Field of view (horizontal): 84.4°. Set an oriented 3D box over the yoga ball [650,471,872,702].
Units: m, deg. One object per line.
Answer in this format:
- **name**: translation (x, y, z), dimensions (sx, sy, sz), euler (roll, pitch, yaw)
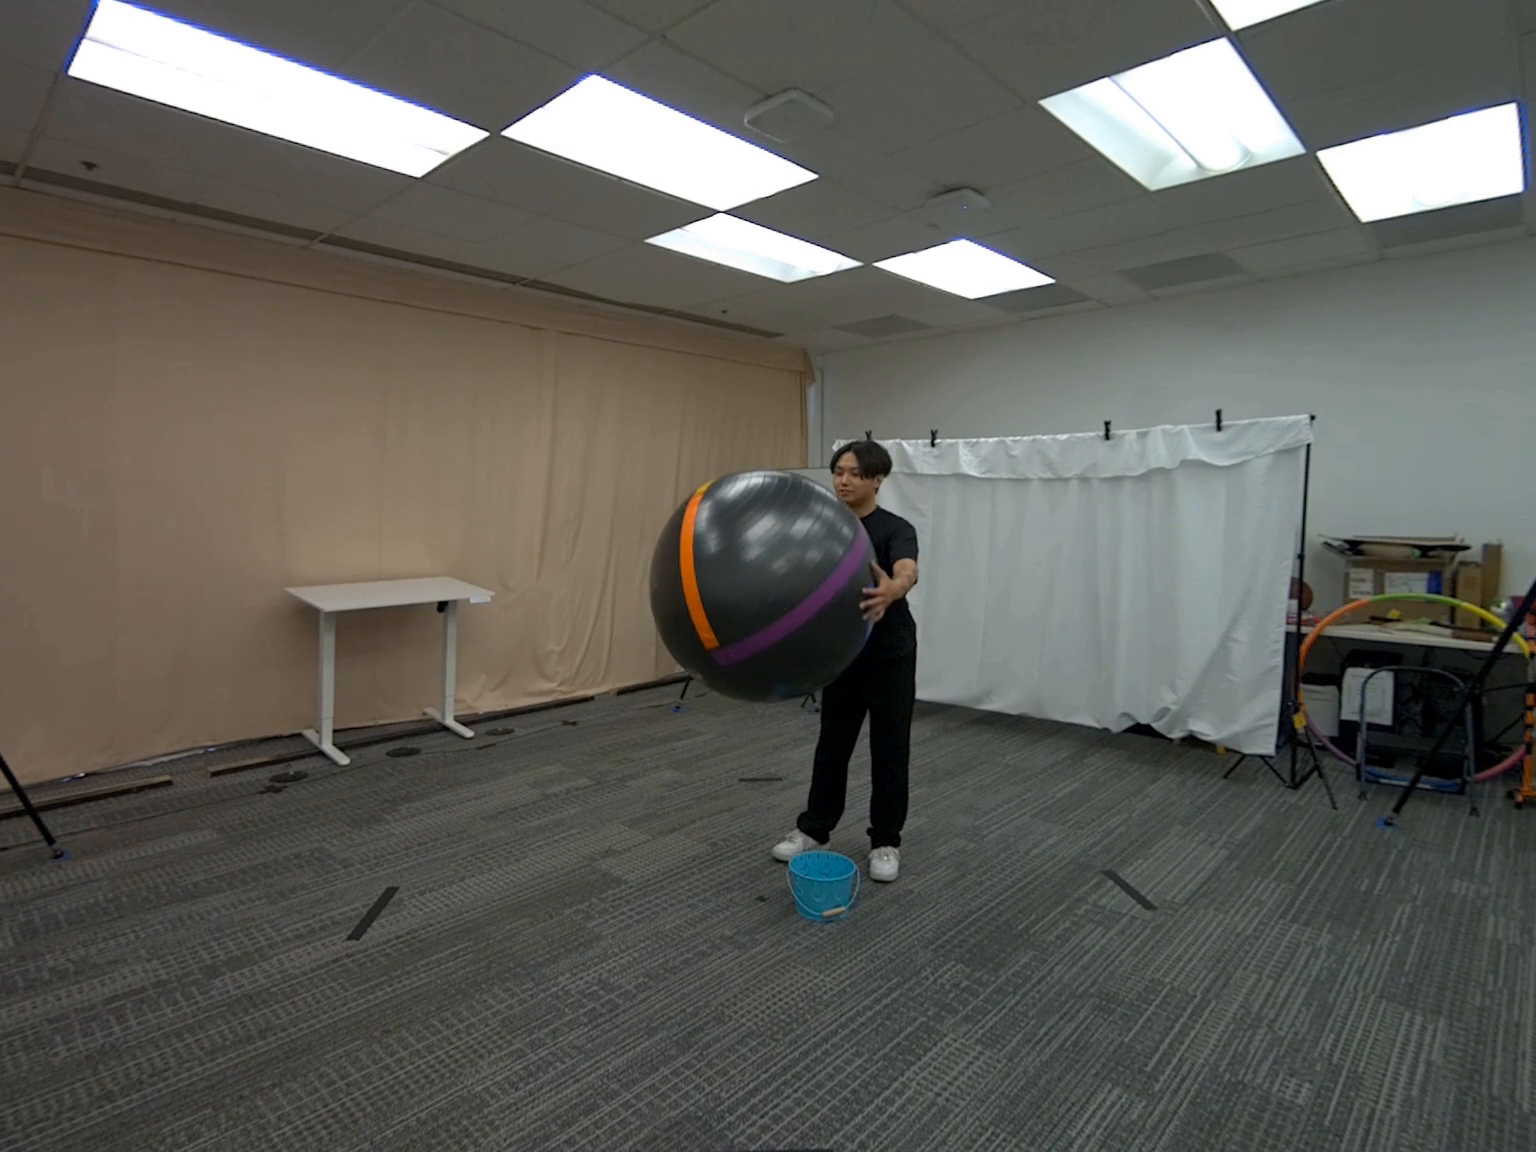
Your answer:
- **yoga ball**: translation (-0.013, 0.031, 2.778), dimensions (0.757, 0.756, 0.760), euler (0, 4, -2)
